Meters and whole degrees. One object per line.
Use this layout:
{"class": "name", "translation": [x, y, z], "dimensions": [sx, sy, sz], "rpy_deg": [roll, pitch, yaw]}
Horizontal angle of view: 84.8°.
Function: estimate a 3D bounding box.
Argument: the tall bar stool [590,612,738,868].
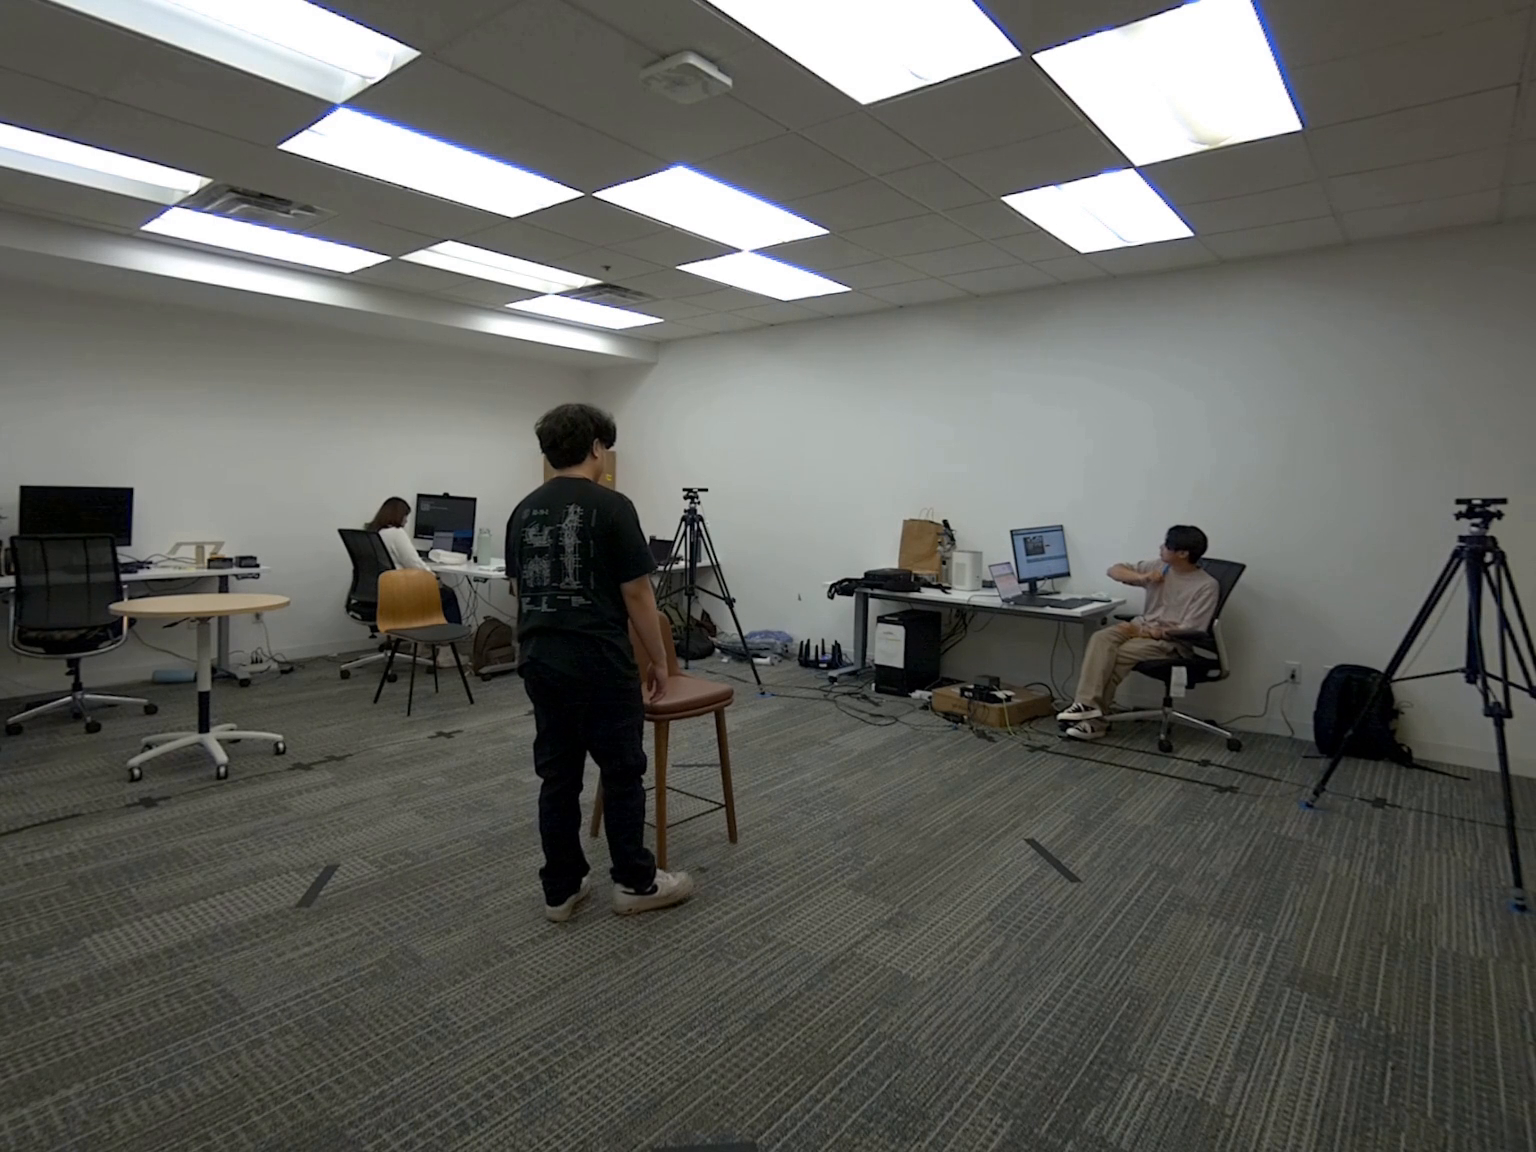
{"class": "tall bar stool", "translation": [-0.423, 0.607, 3.354], "dimensions": [0.483, 0.889, 0.442], "rpy_deg": [0, 1, 43]}
